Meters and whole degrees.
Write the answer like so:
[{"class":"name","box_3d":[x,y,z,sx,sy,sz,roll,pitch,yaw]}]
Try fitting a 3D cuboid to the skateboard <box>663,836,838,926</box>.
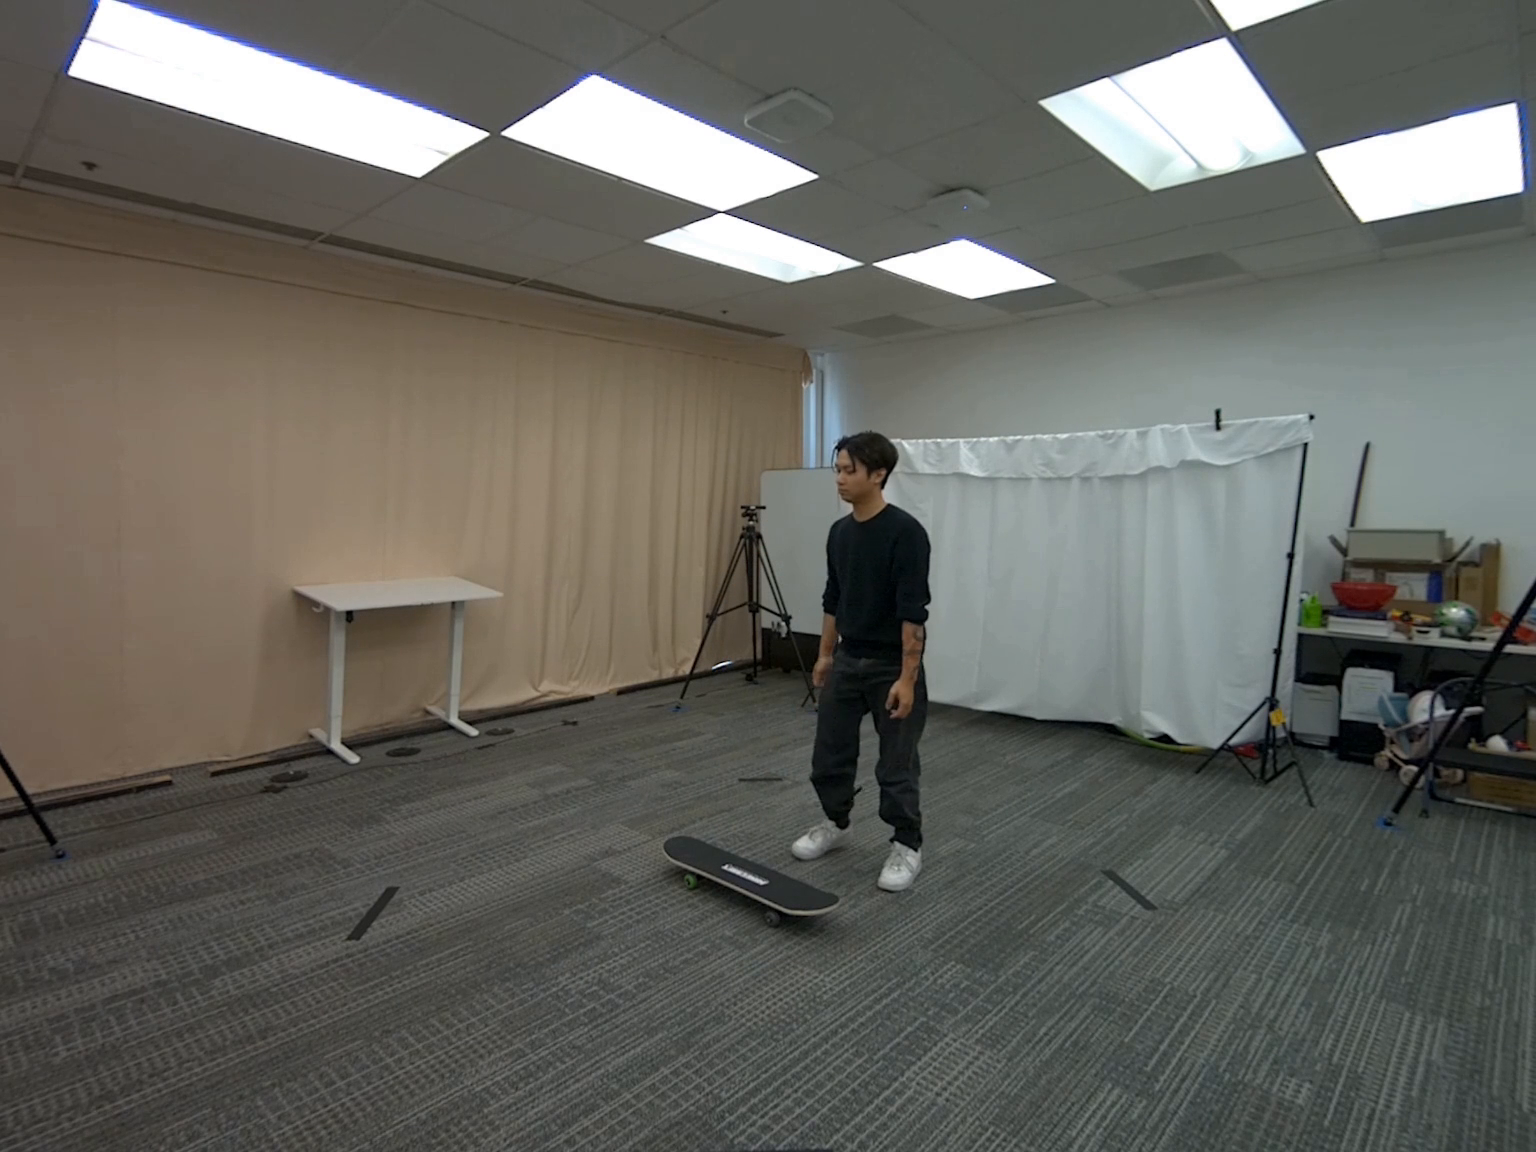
[{"class":"skateboard","box_3d":[-0.076,1.083,2.981,0.812,0.110,0.187,3,6,42]}]
